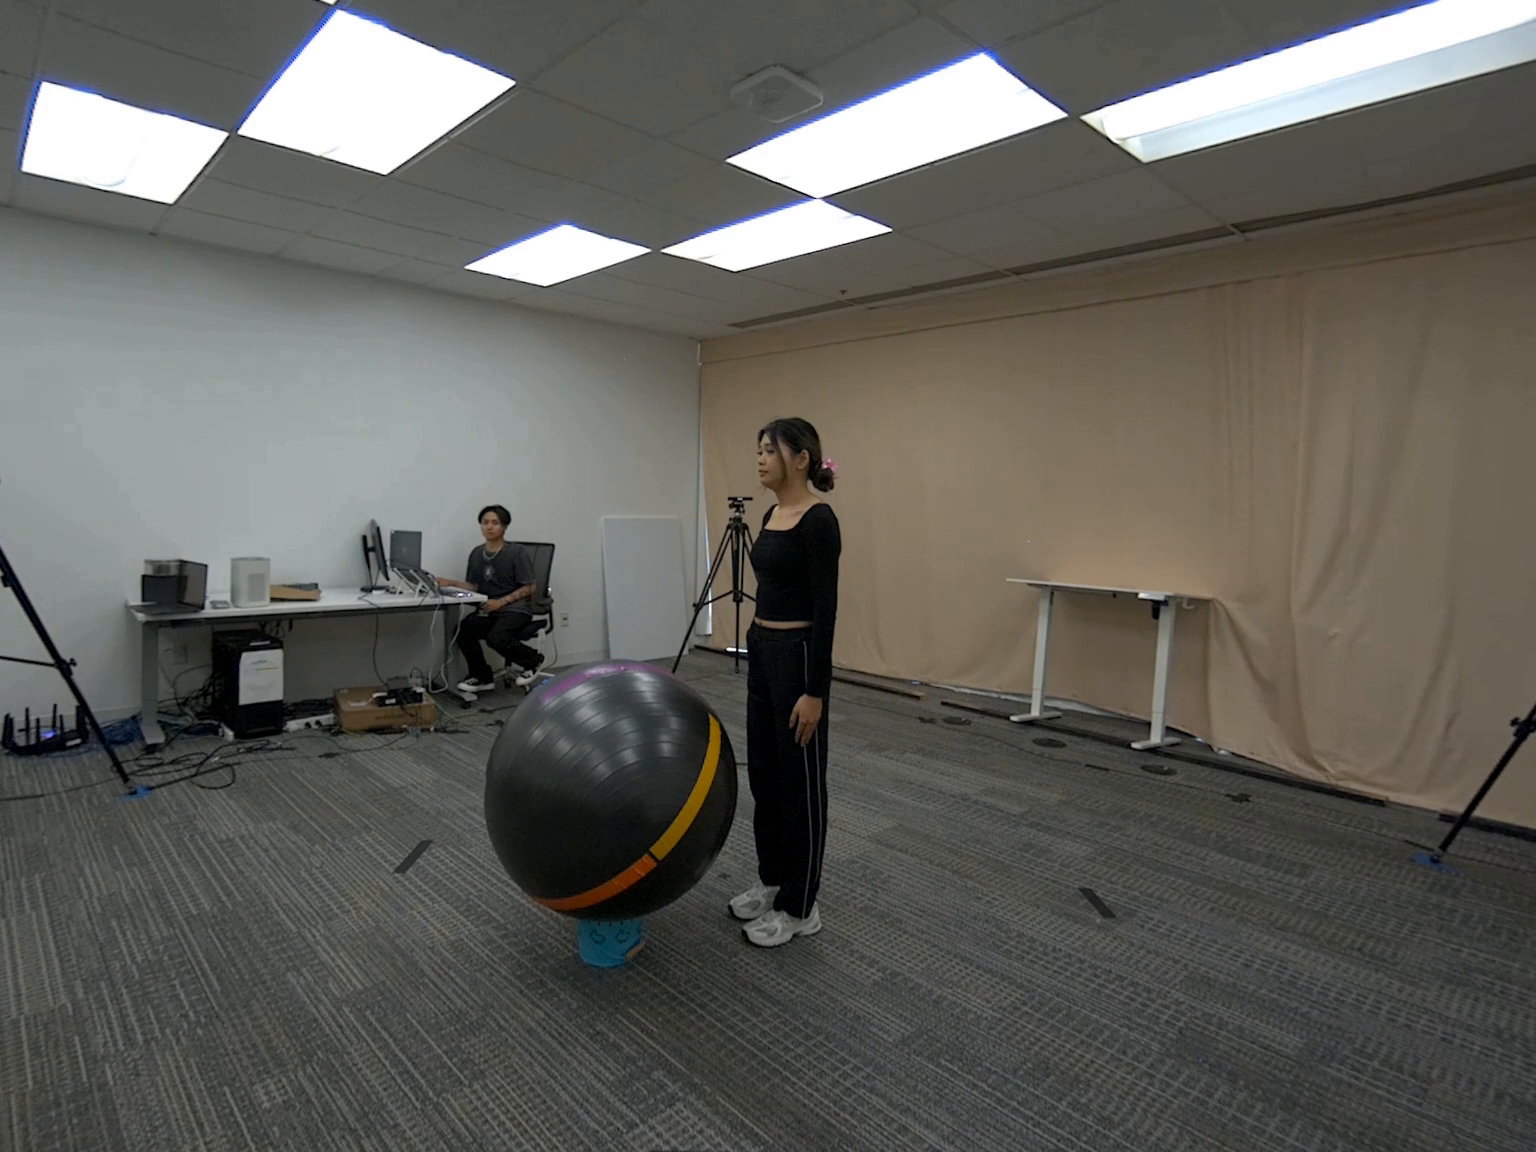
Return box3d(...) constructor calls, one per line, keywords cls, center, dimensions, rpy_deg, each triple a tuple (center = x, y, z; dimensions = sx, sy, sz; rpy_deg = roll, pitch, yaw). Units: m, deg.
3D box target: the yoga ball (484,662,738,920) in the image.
box3d(cls="yoga ball", center=(-0.480, 0.640, 2.551), dimensions=(0.757, 0.756, 0.761), rpy_deg=(1, 4, -1))
